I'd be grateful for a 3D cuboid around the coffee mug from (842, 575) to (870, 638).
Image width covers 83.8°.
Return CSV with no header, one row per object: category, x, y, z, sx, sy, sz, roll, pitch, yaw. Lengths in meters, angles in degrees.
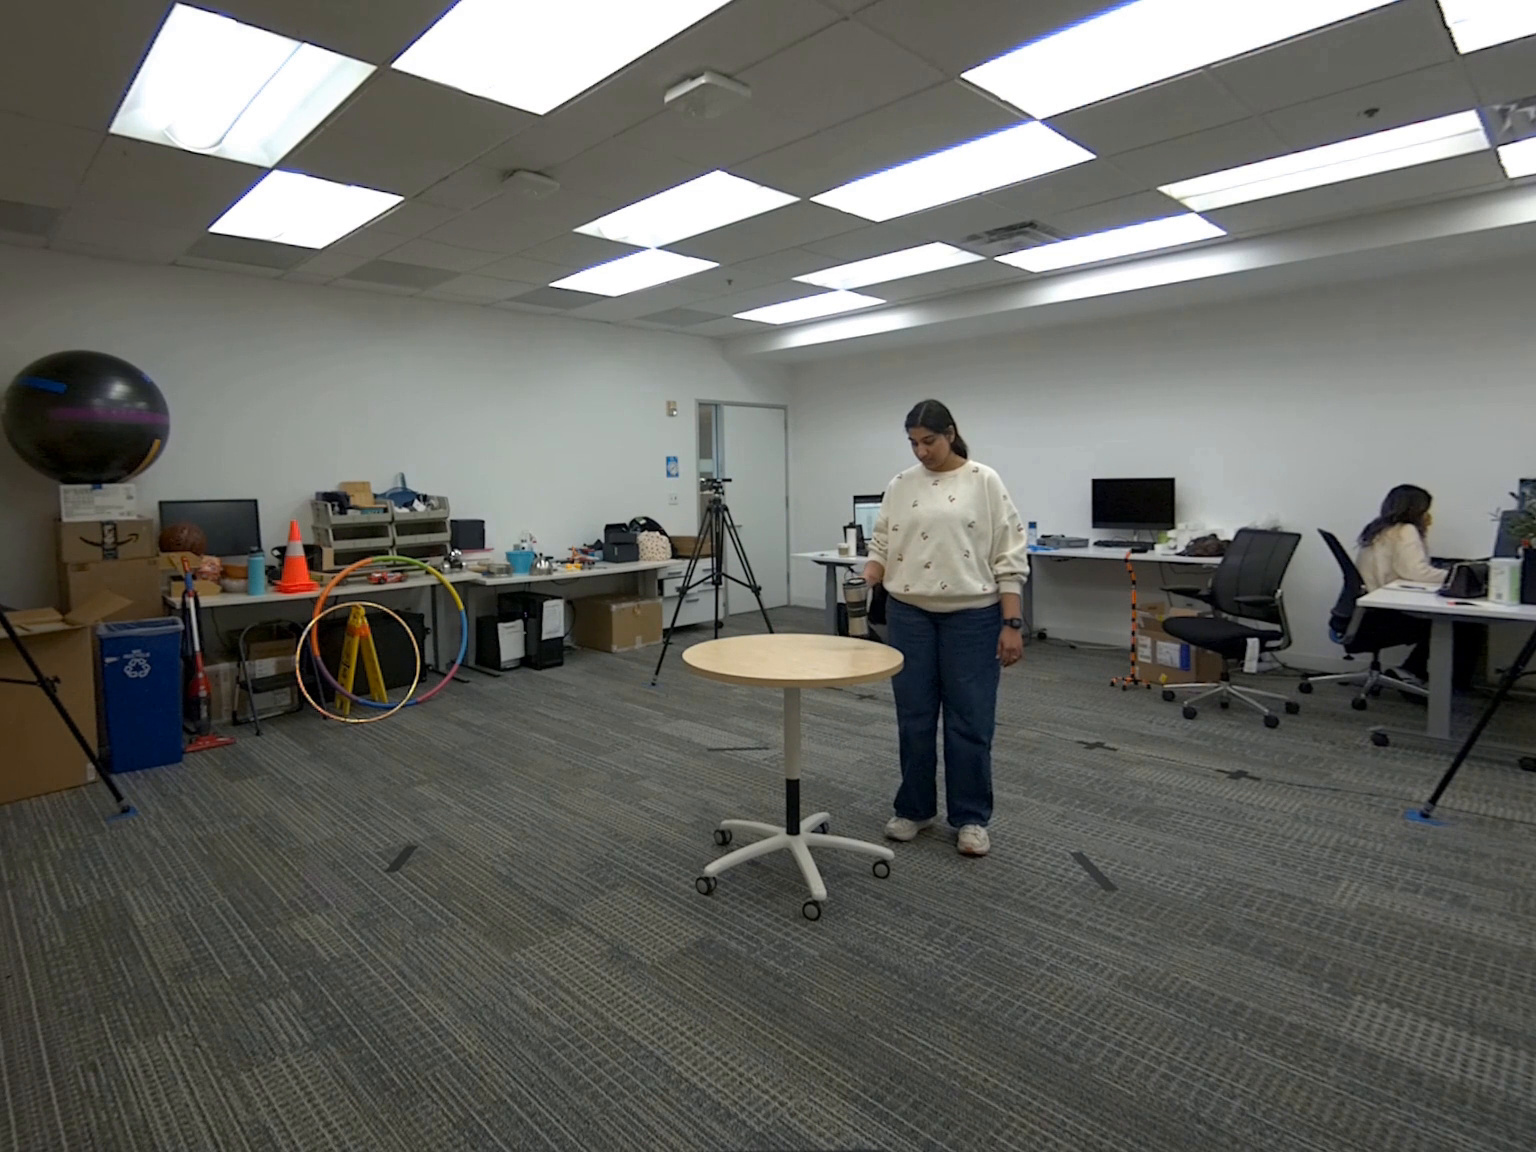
coffee mug,0.343,0.114,3.062,0.119,0.202,0.090,-13,4,-35
